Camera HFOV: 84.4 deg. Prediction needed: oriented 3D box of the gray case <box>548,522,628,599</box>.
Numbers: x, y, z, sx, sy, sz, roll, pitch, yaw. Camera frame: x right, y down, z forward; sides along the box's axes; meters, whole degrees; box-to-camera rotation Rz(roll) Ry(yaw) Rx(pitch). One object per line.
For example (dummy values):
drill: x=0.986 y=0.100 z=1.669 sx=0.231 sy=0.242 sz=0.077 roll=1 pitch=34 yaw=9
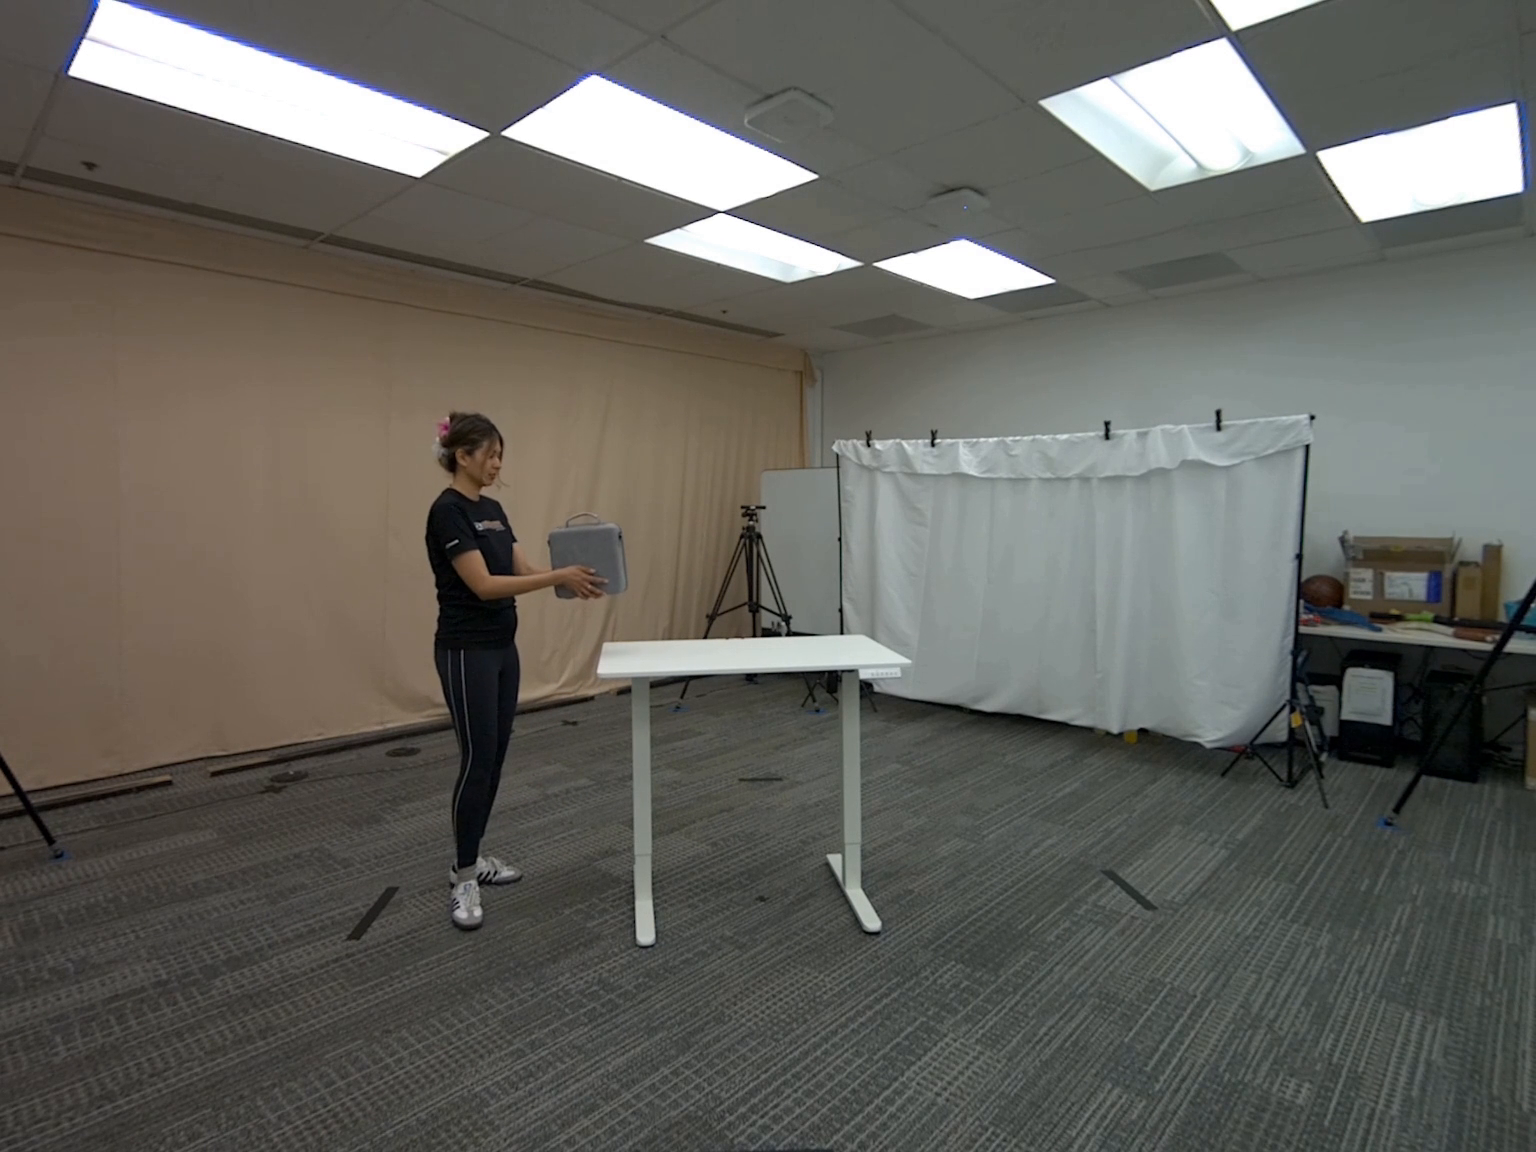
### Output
gray case: x=-0.638 y=-0.058 z=2.962 sx=0.258 sy=0.259 sz=0.104 roll=-5 pitch=8 yaw=5
